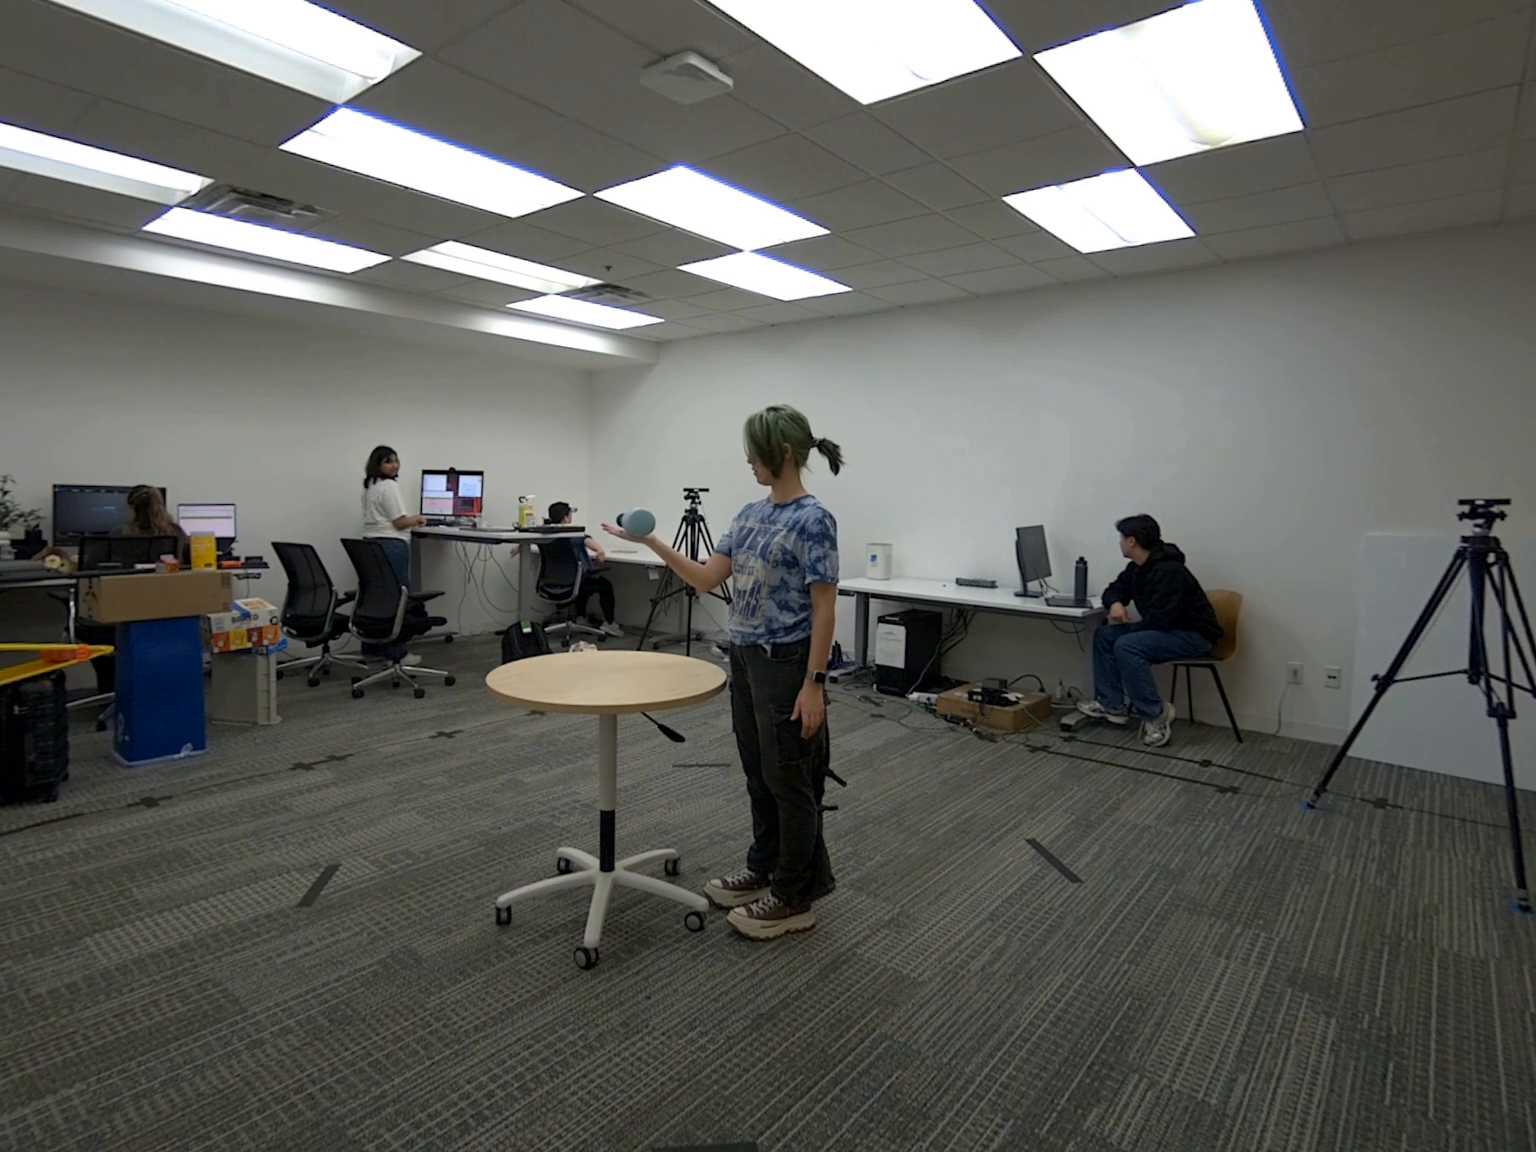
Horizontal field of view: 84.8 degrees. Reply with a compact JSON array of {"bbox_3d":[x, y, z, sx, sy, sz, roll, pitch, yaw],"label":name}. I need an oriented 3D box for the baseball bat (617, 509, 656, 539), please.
[{"bbox_3d":[-0.467,-0.172,2.769,0.087,0.089,0.553,0,4,-16],"label":"baseball bat"}]
